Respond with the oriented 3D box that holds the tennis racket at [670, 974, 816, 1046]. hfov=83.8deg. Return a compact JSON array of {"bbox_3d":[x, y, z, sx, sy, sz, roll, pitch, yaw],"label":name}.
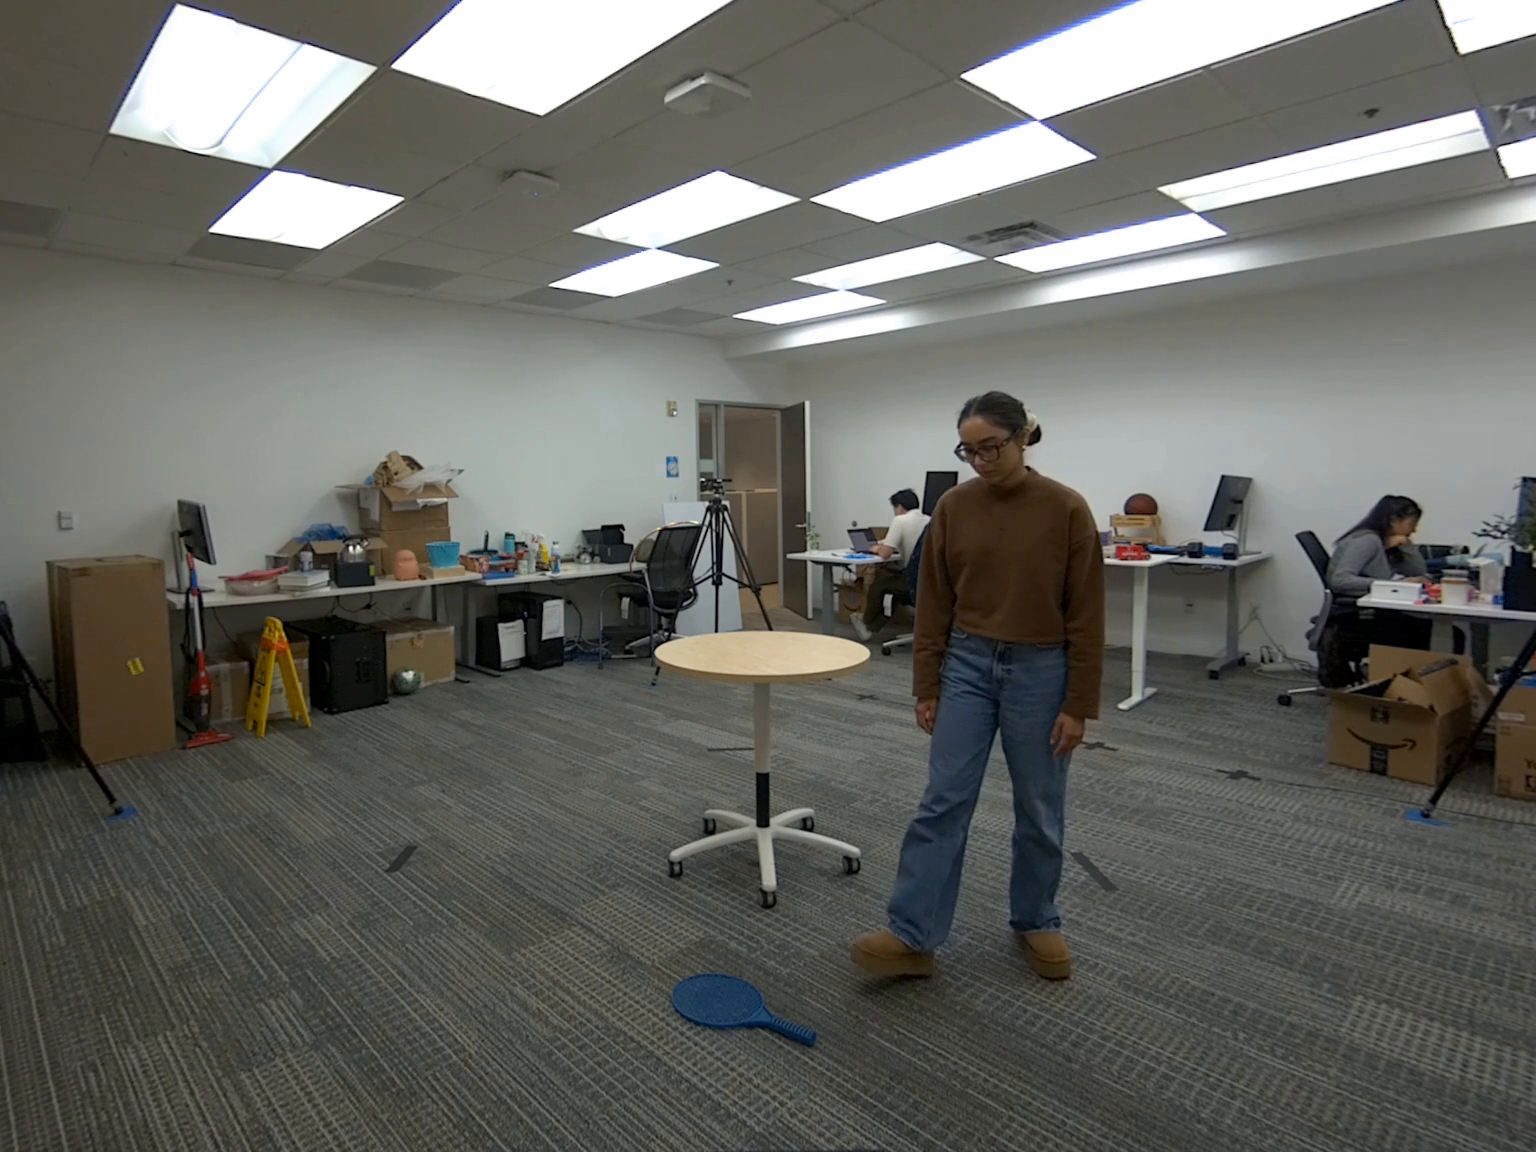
[{"bbox_3d":[-0.062,1.132,2.238,0.445,0.031,0.208,2,8,38],"label":"tennis racket"}]
